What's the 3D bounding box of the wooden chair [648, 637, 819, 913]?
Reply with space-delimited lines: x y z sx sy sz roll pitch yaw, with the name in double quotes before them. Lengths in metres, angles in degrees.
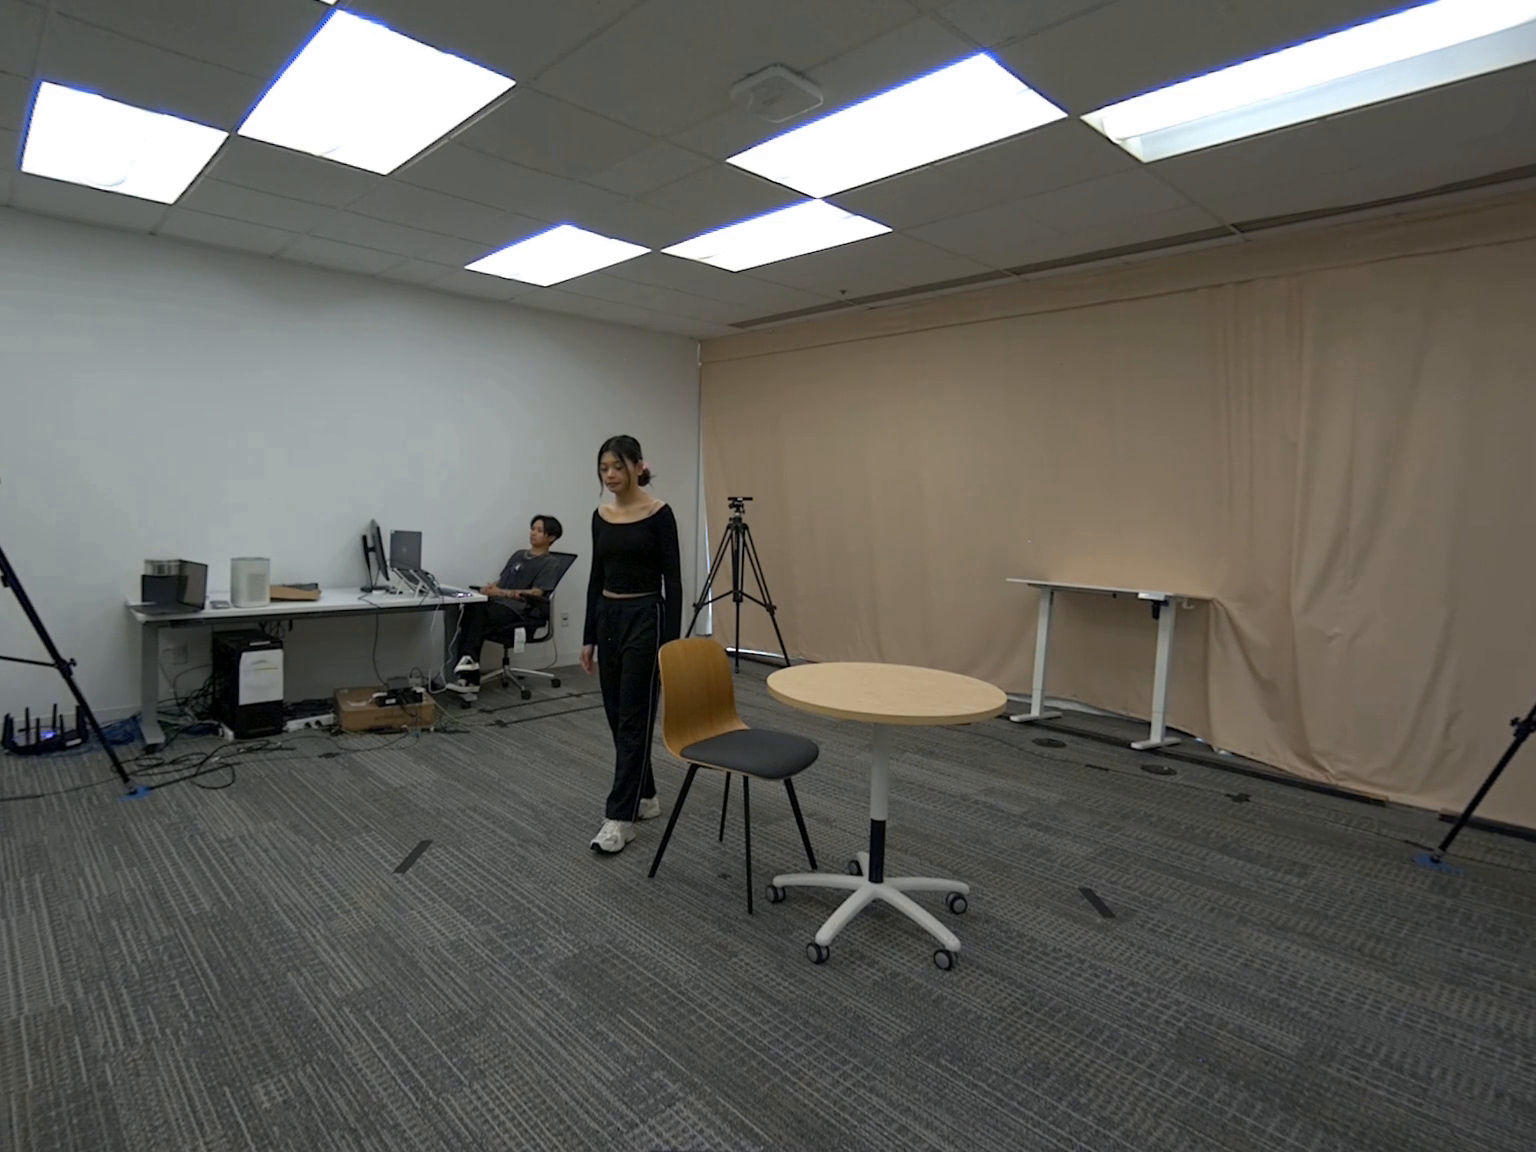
"wooden chair" -0.113 0.681 3.089 0.534 0.877 0.468 -2 1 35
